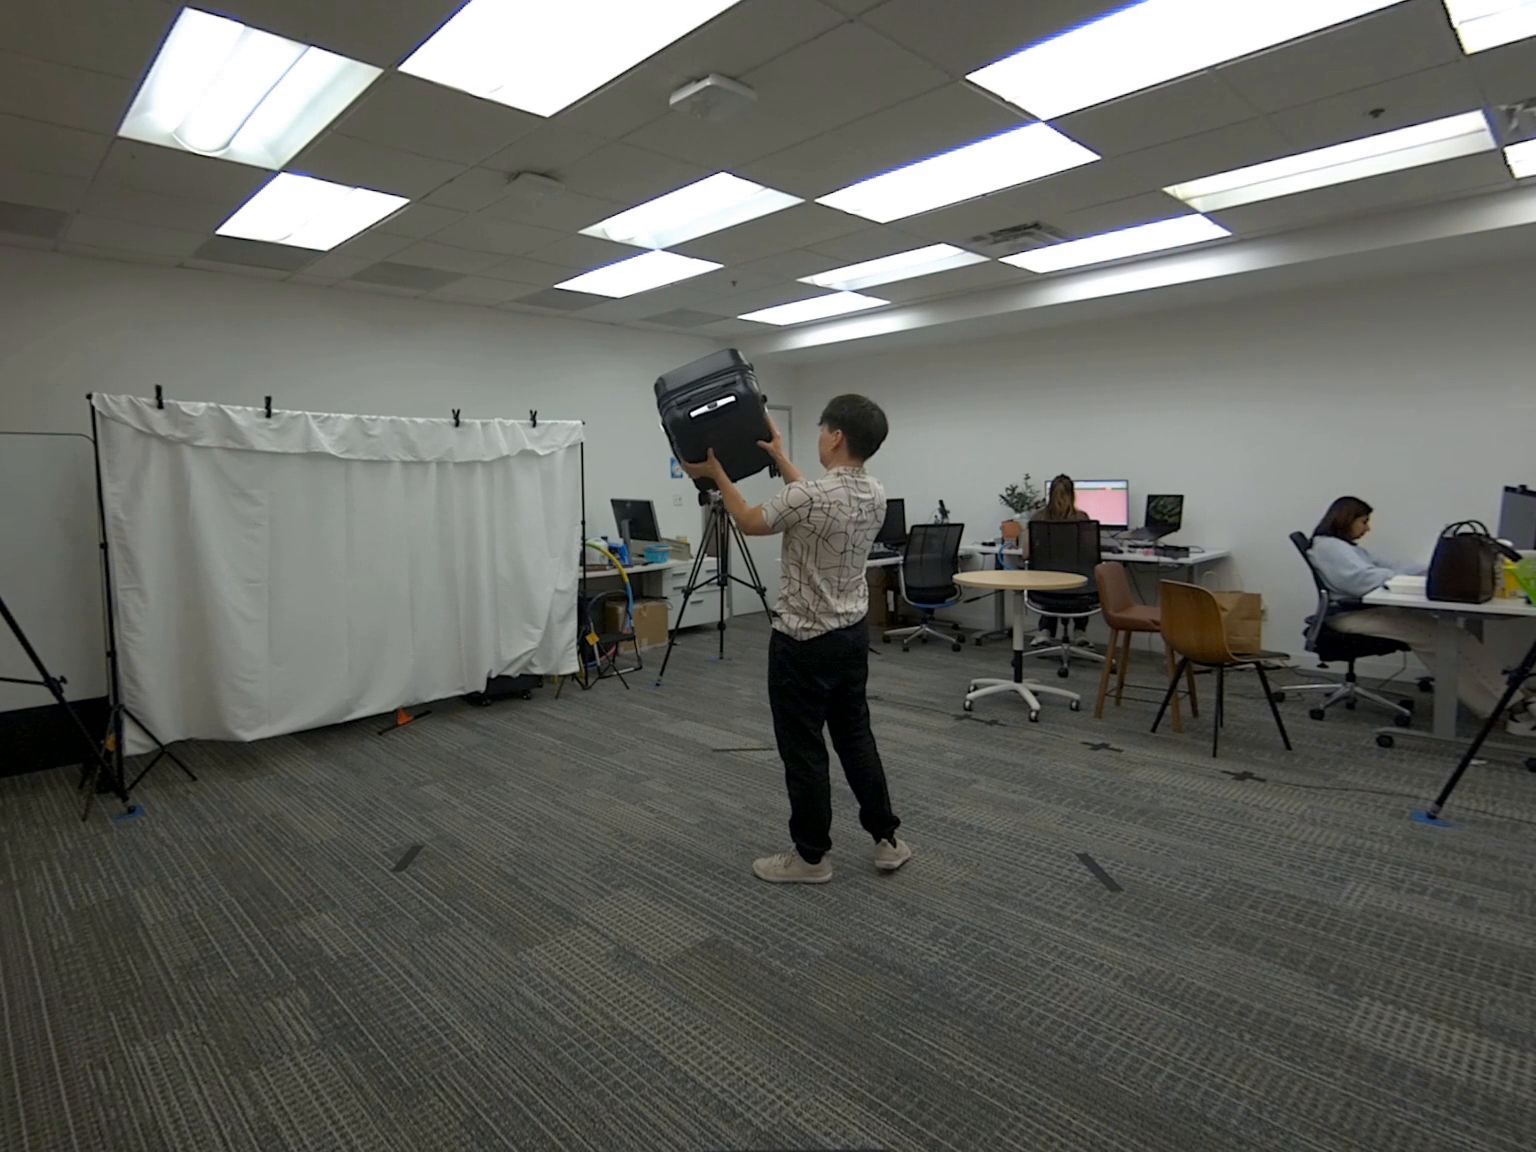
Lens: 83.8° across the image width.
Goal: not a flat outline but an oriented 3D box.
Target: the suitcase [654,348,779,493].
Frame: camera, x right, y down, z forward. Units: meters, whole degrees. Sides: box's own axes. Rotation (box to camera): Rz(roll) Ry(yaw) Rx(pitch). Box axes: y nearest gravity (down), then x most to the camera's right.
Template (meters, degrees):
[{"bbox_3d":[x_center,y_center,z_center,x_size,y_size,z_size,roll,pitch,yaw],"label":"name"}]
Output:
[{"bbox_3d":[-0.184,-0.559,3.136,0.376,0.256,0.532,-22,-28,2],"label":"suitcase"}]
